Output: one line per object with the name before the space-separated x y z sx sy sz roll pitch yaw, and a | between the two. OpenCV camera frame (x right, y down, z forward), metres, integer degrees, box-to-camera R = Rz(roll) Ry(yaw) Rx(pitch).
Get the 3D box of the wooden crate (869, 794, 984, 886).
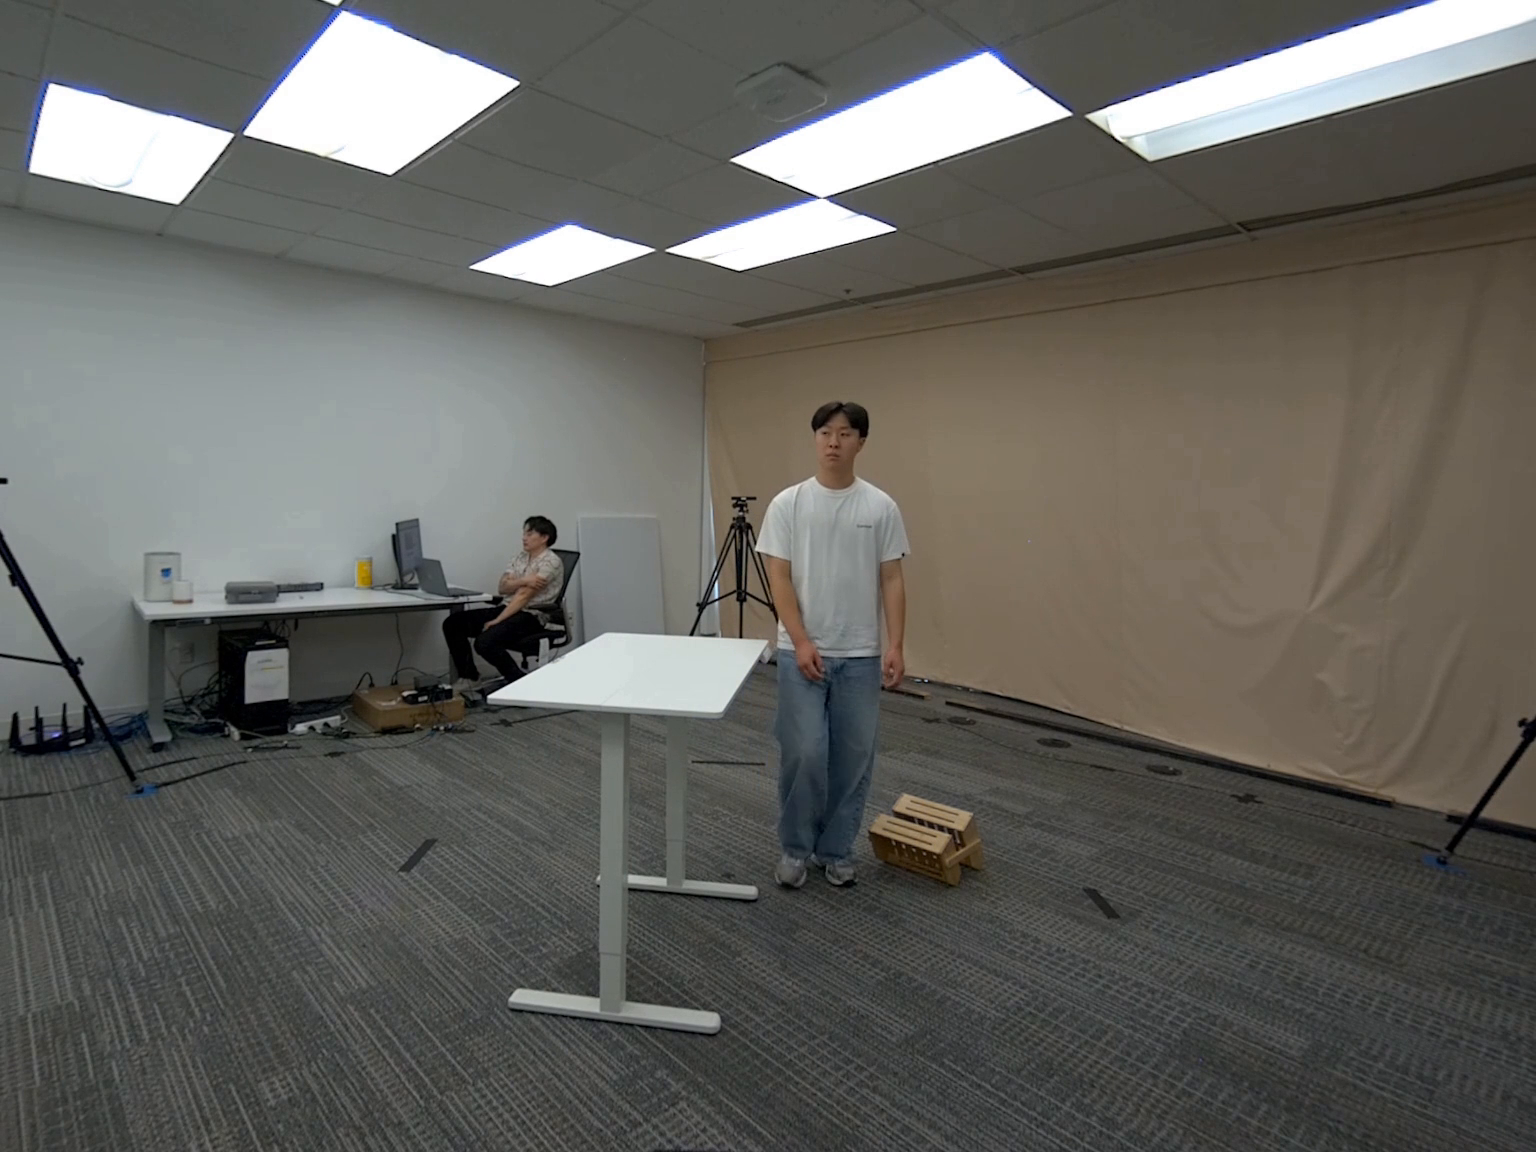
wooden crate | 0.593 1.029 3.193 0.332 0.296 0.272 5 33 40
